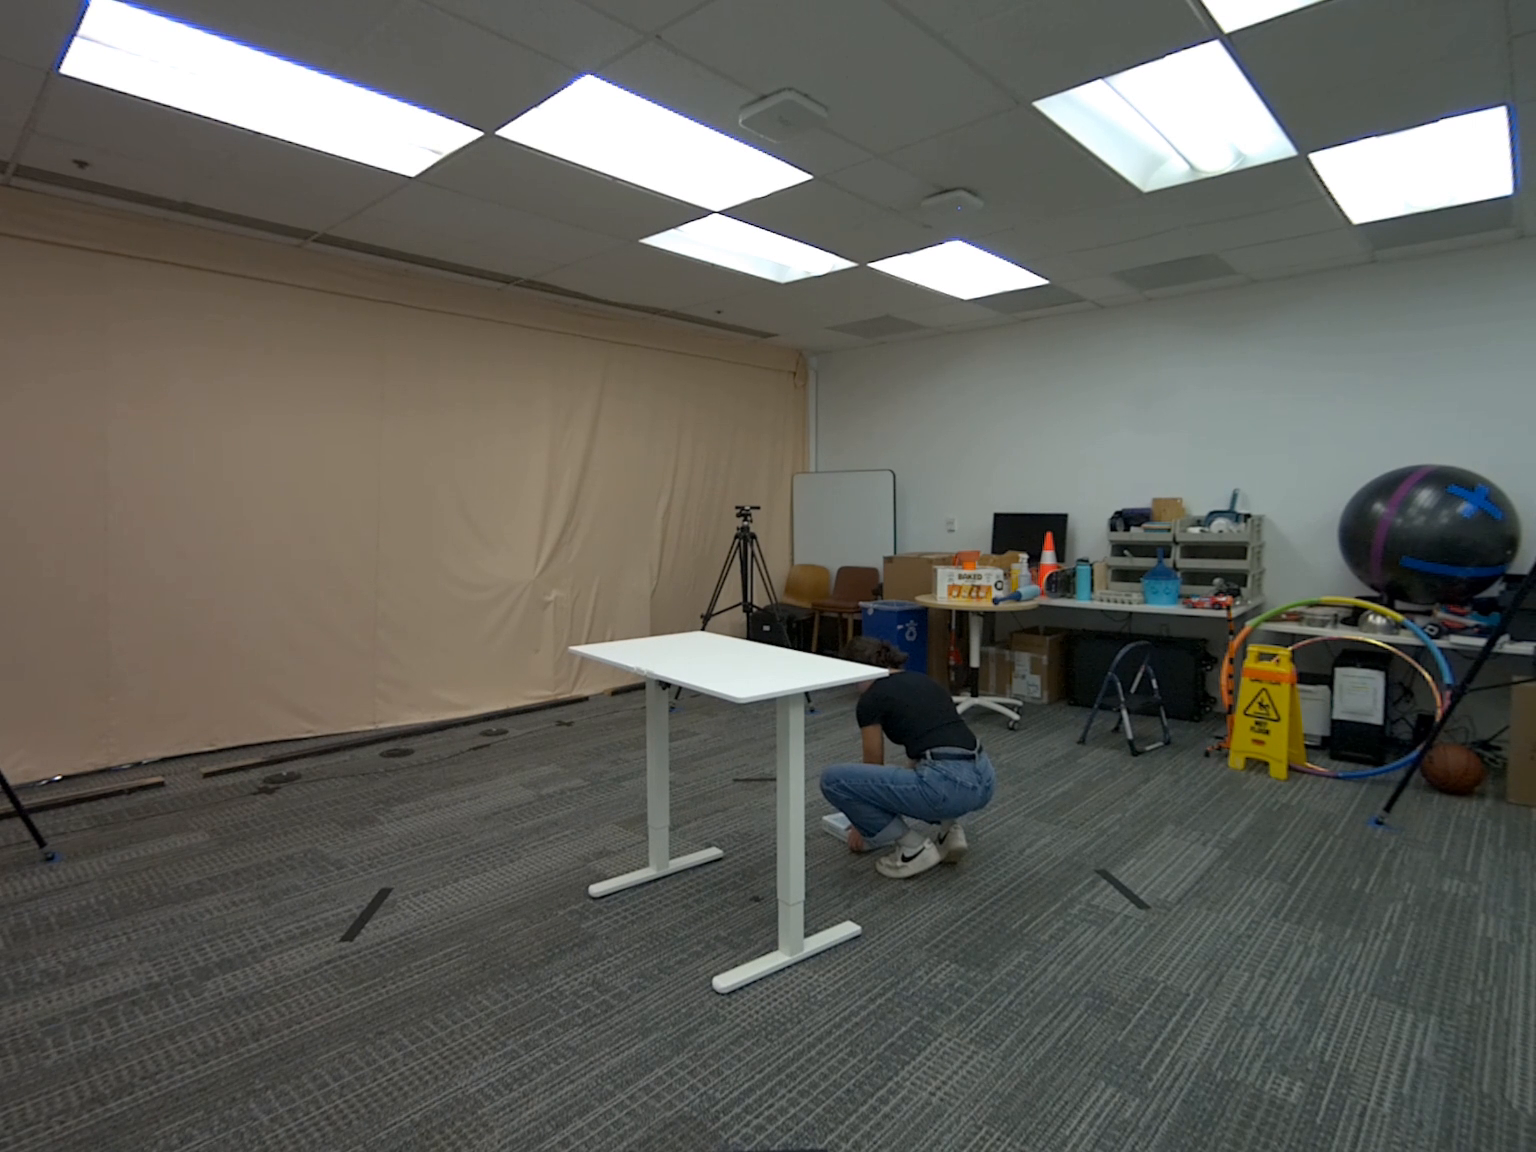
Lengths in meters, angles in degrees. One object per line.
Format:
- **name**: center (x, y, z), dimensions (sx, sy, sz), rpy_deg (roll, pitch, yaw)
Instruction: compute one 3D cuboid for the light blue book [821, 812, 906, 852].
- **light blue book**: center (0.385, 1.072, 3.551), dimensions (0.186, 0.059, 0.269), rpy_deg (-1, 5, -32)
